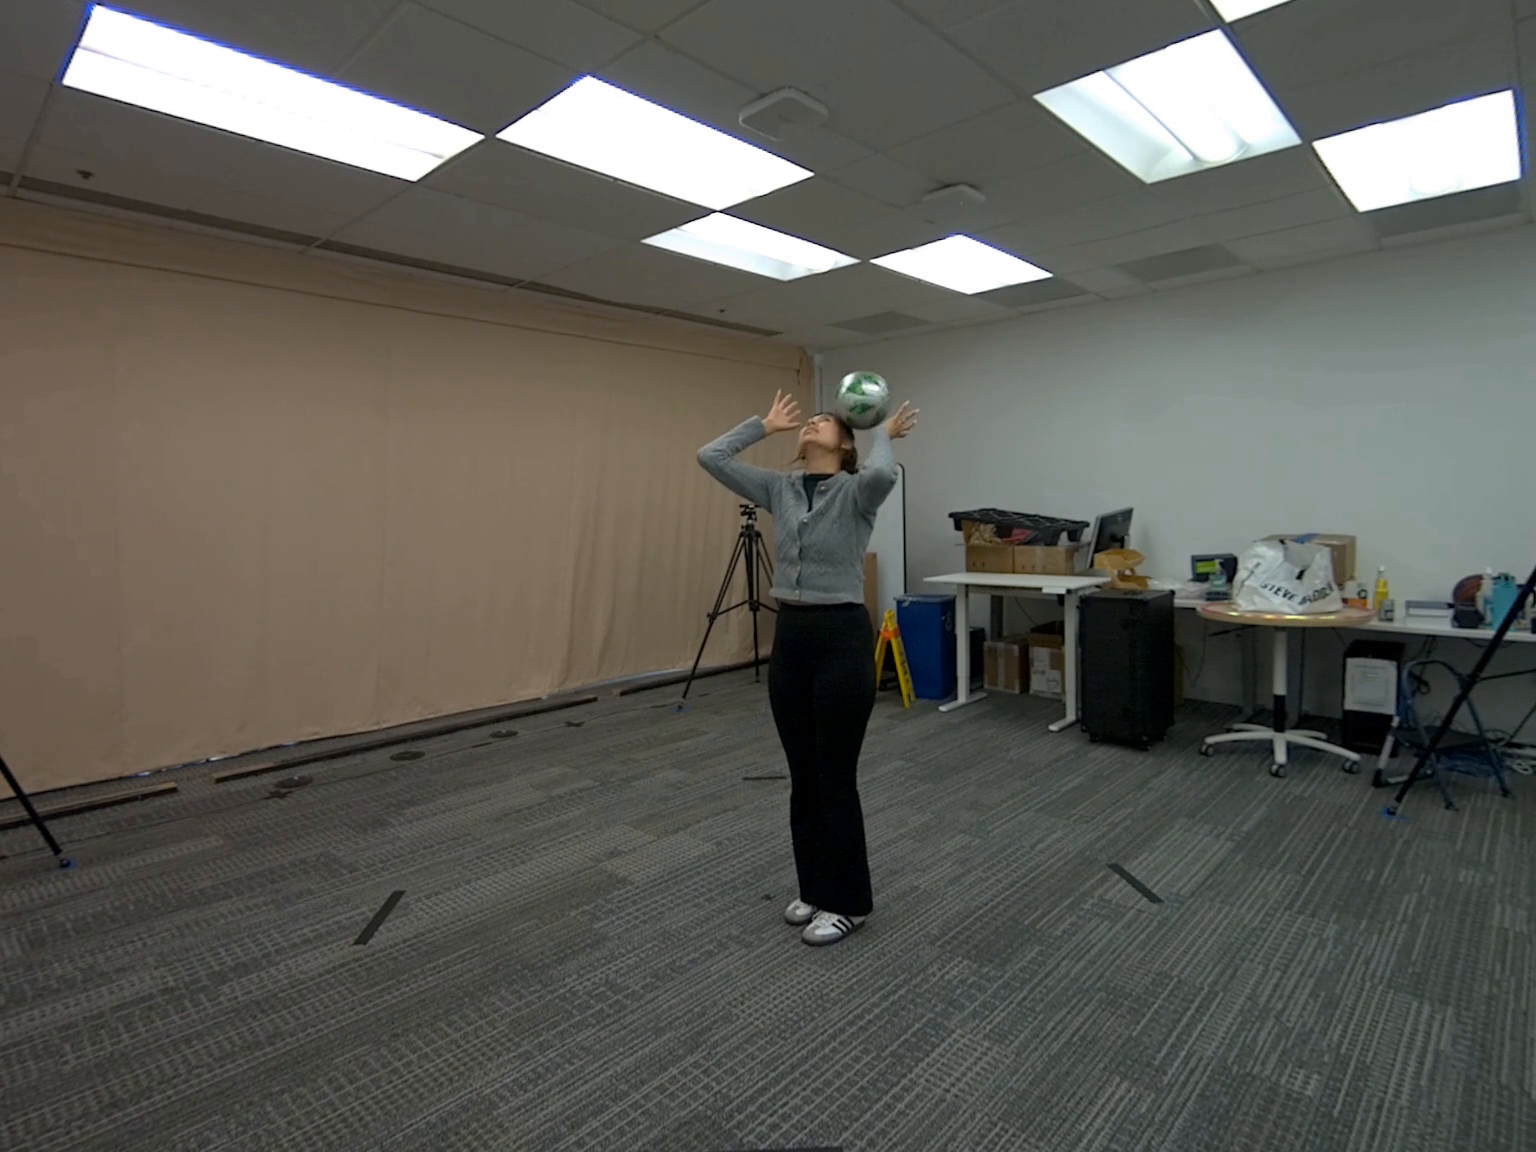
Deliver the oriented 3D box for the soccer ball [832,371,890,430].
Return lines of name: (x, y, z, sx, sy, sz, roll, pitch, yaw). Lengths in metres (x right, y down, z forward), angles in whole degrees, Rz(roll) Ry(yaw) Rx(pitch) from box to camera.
soccer ball: (0.309, -0.561, 2.745, 0.187, 0.187, 0.188, -1, 4, -2)
